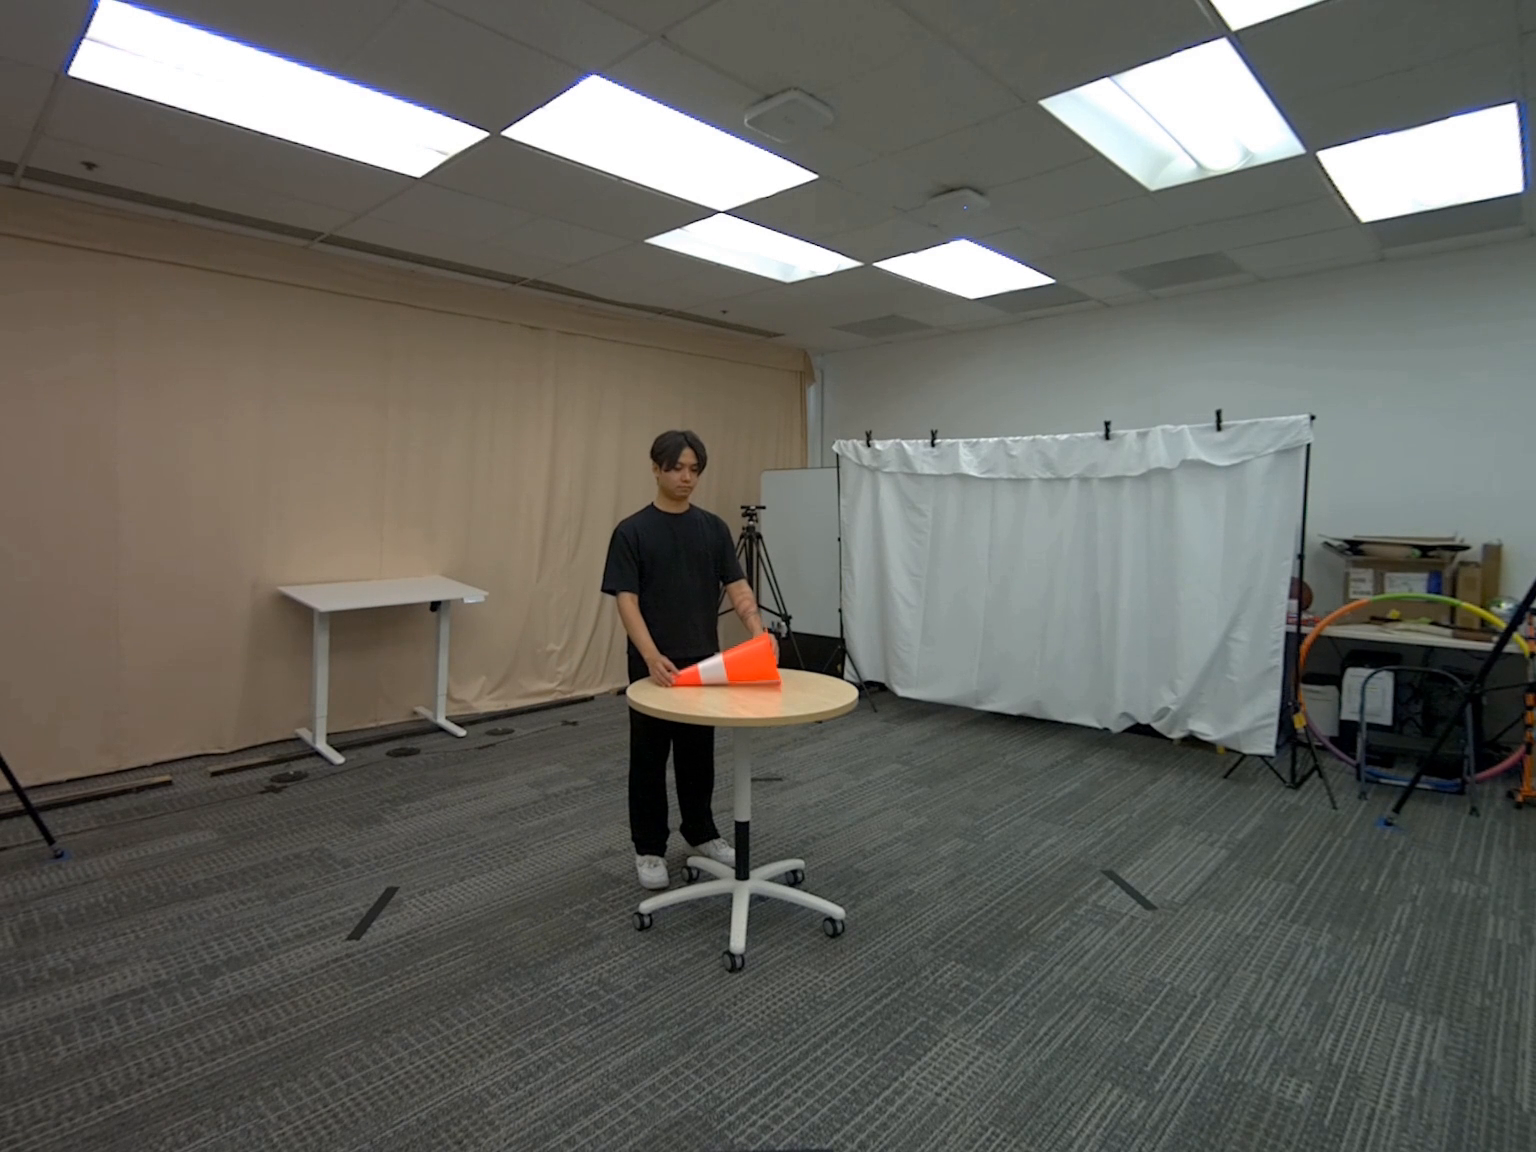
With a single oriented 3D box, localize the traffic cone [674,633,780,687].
[{"bbox_3d":[-0.171,0.315,2.839,0.381,0.208,0.202,-14,-15,-6],"label":"traffic cone"}]
